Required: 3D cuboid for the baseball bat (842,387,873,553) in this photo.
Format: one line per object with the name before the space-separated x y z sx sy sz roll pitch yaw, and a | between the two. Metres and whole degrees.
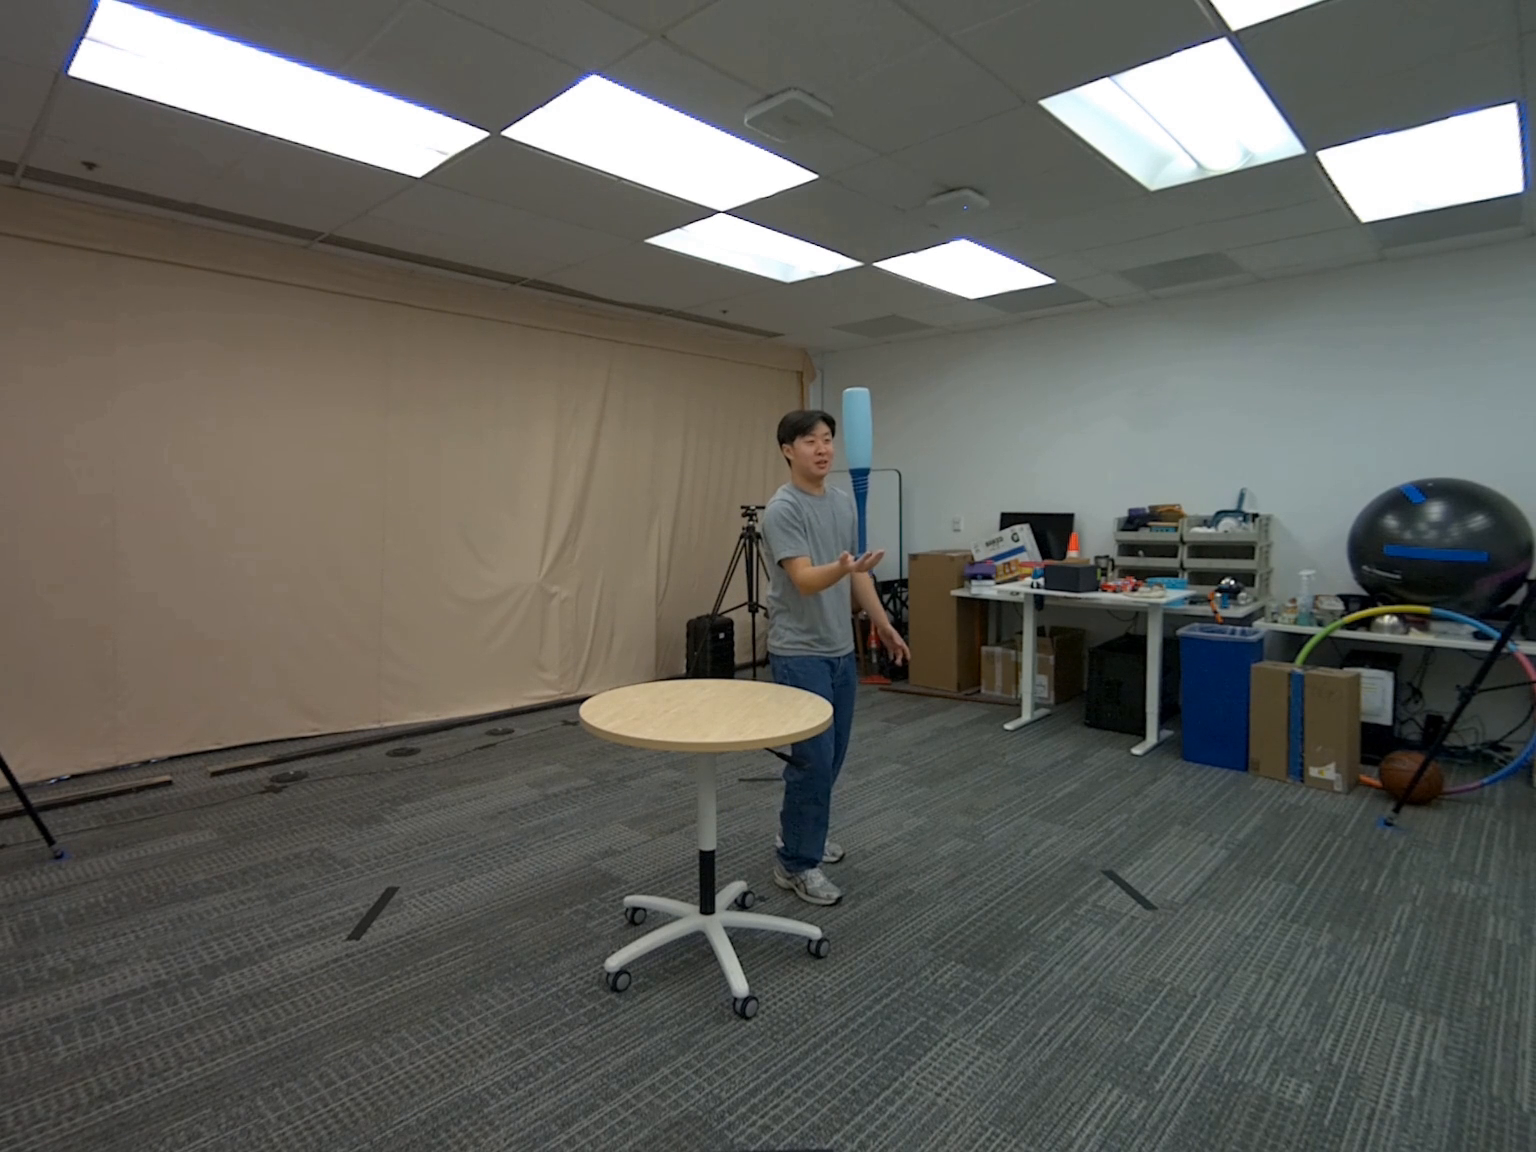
baseball bat | 0.290 -0.314 2.625 0.089 0.543 0.089 -3 1 -2
